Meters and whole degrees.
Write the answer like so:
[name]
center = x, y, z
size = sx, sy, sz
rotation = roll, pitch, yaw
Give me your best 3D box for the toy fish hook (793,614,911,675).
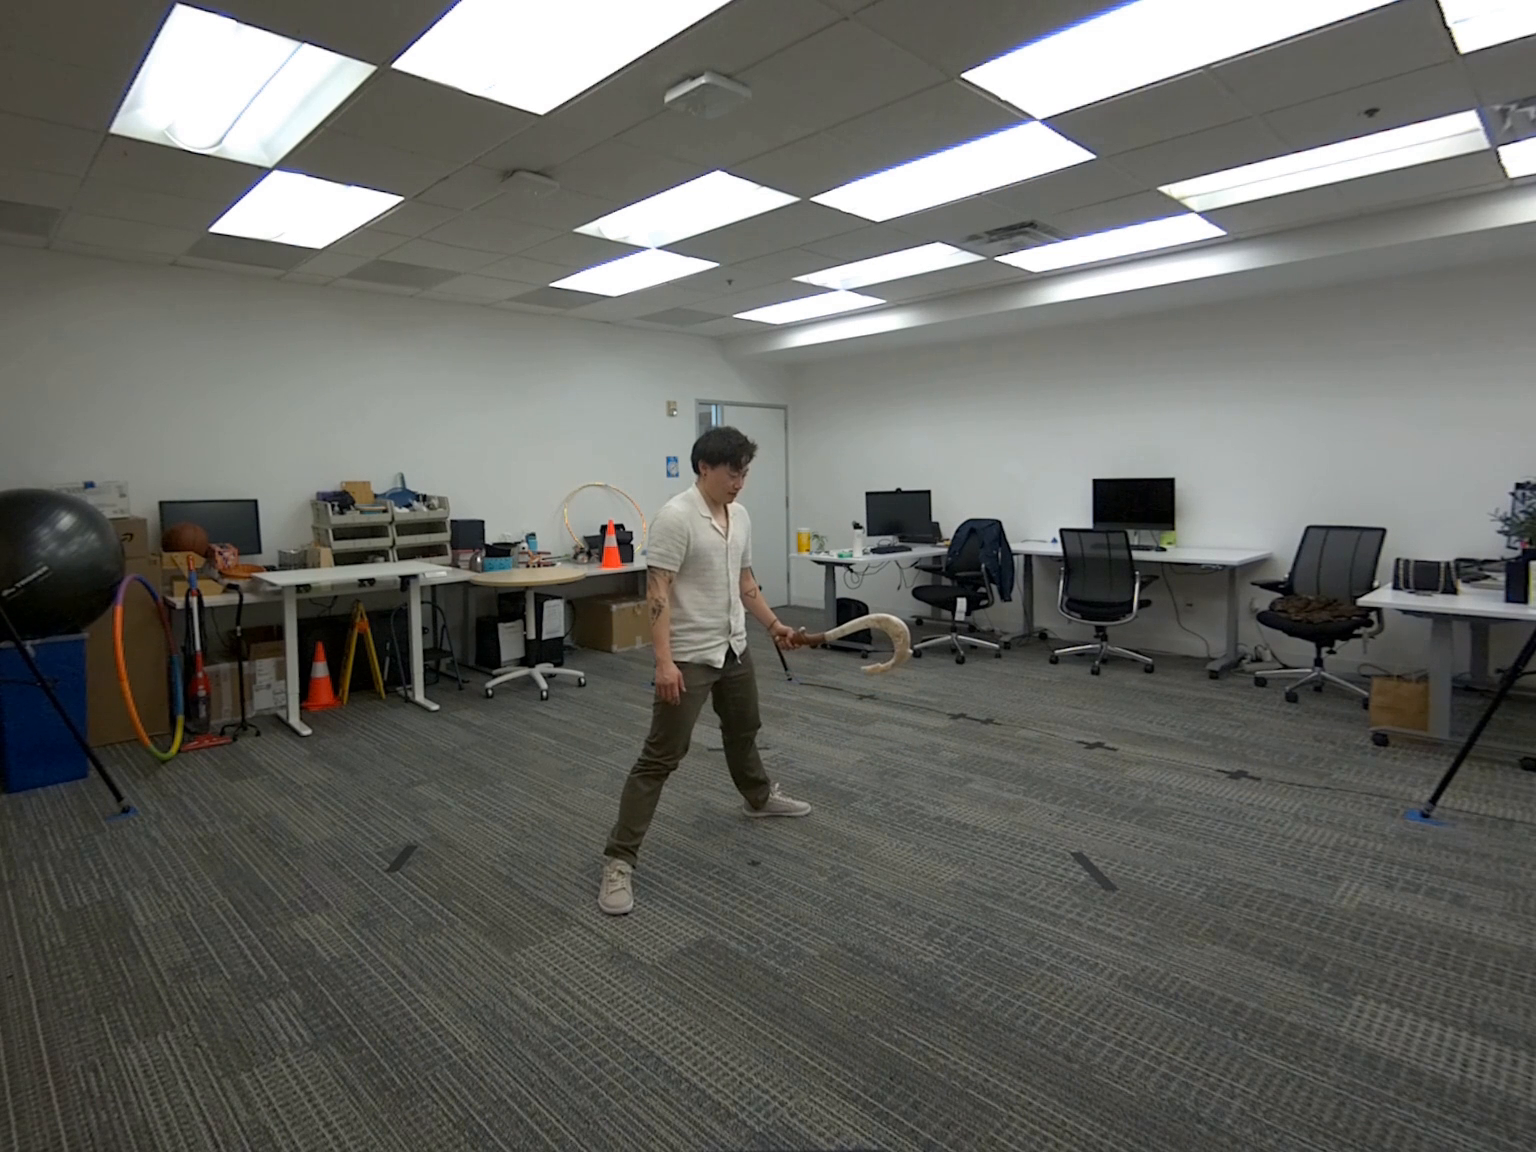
[toy fish hook]
center = 0.275, 0.270, 3.198
size = 0.515, 0.225, 0.047
rotation = -7, 0, 19
